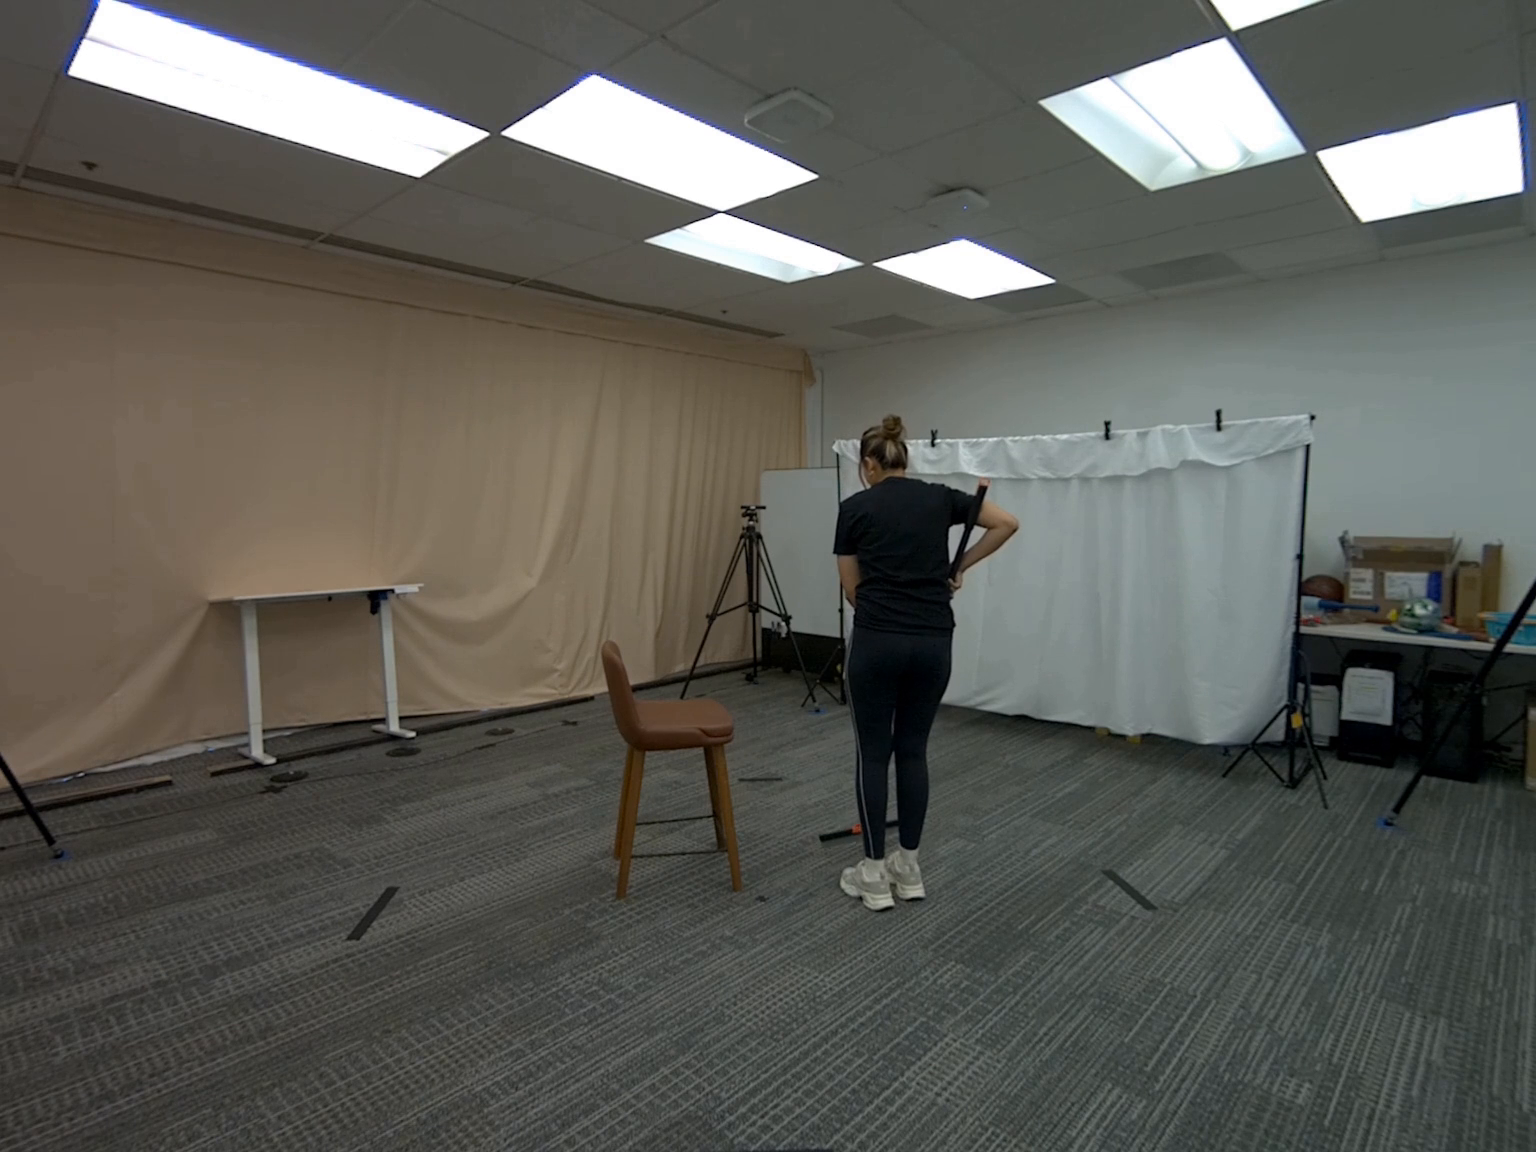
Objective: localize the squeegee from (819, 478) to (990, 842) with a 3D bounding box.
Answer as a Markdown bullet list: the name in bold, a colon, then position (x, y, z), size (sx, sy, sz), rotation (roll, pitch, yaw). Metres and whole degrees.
- **squeegee**: position (0.571, 0.358, 3.191), size (0.425, 1.529, 0.055), rotation (6, 21, -29)
